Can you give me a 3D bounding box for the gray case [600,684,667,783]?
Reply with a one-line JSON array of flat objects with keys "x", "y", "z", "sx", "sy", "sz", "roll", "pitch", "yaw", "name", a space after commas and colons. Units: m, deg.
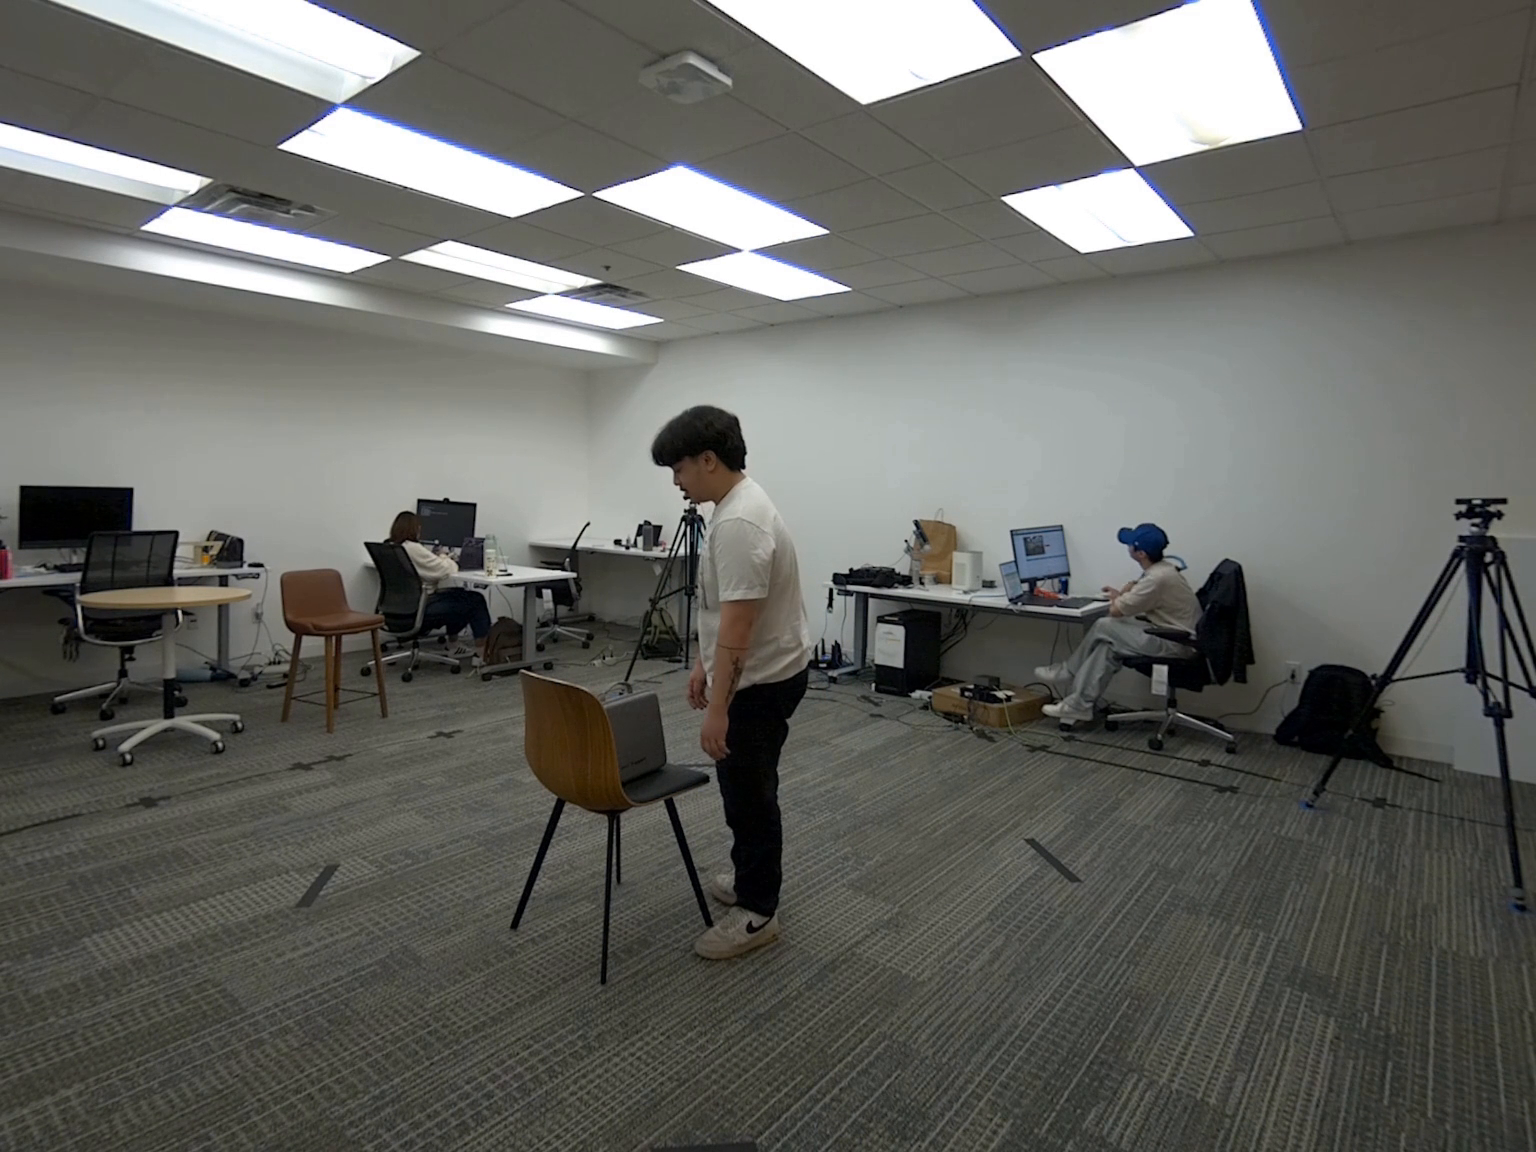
[{"x": -0.461, "y": 0.501, "z": 2.688, "sx": 0.107, "sy": 0.261, "sz": 0.250, "roll": -9, "pitch": 0, "yaw": 43, "name": "gray case"}]
